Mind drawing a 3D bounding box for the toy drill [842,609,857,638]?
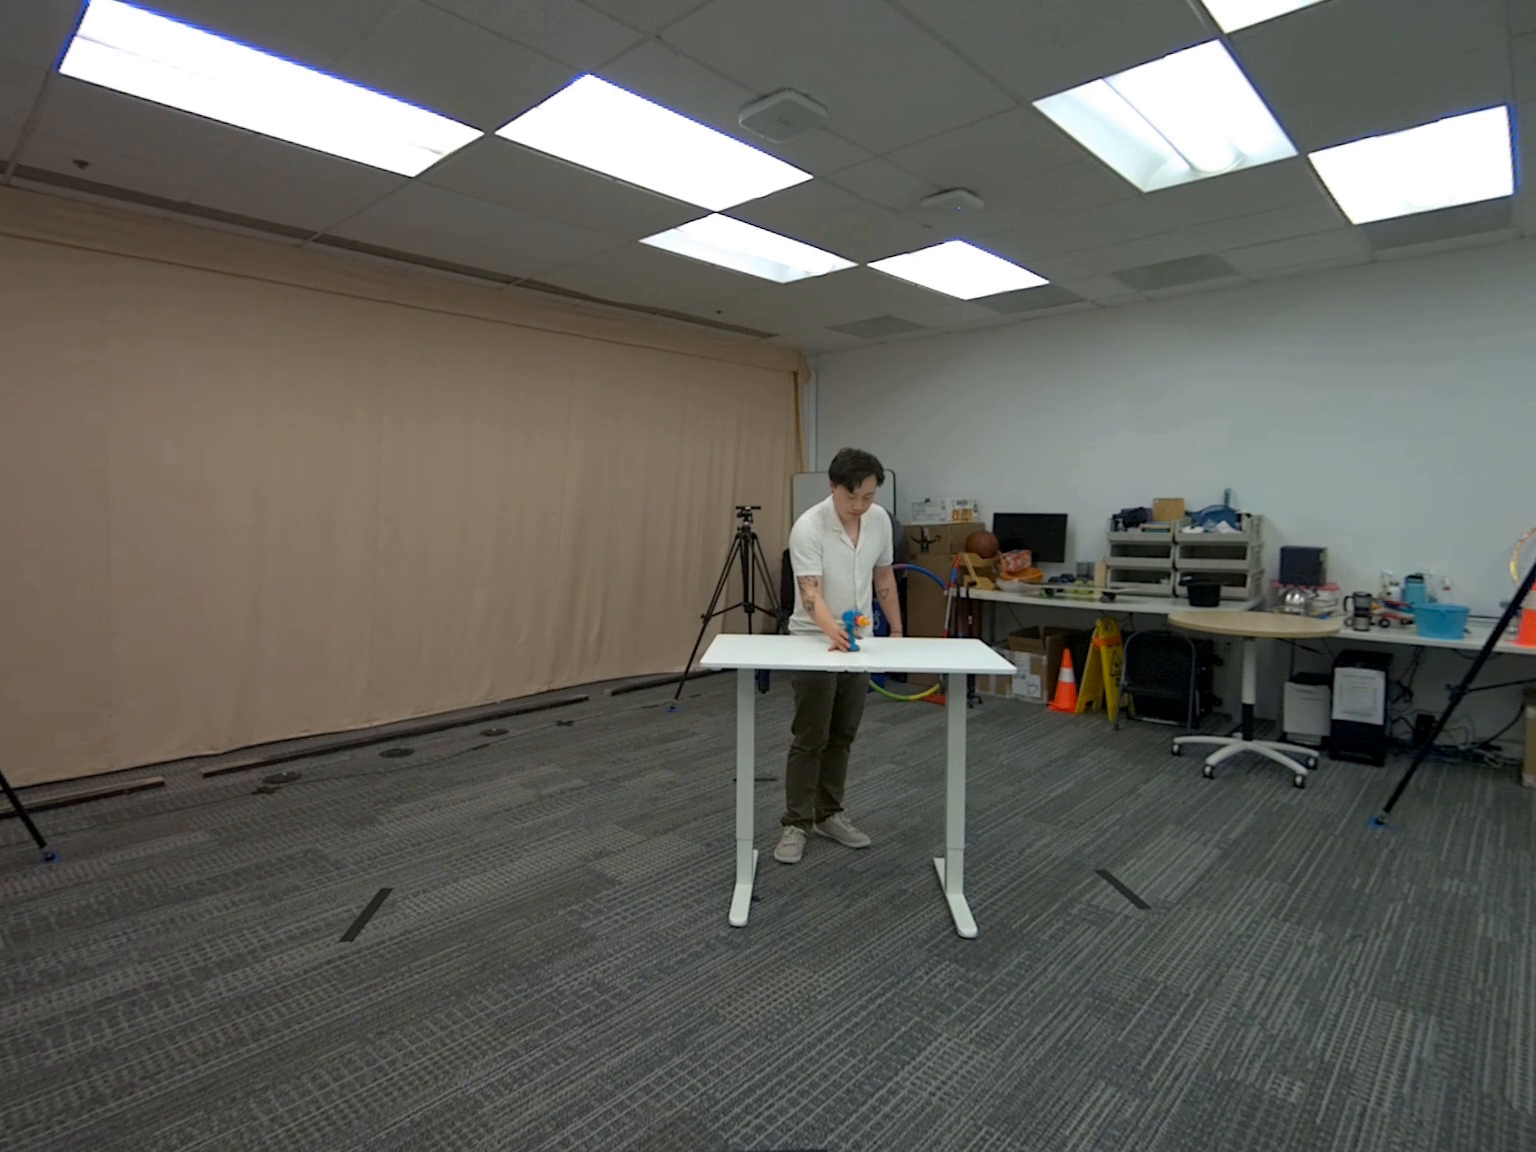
[{"bbox_3d":[0.301,0.191,2.942,0.060,0.145,0.173,-4,5,-20],"label":"toy drill"}]
